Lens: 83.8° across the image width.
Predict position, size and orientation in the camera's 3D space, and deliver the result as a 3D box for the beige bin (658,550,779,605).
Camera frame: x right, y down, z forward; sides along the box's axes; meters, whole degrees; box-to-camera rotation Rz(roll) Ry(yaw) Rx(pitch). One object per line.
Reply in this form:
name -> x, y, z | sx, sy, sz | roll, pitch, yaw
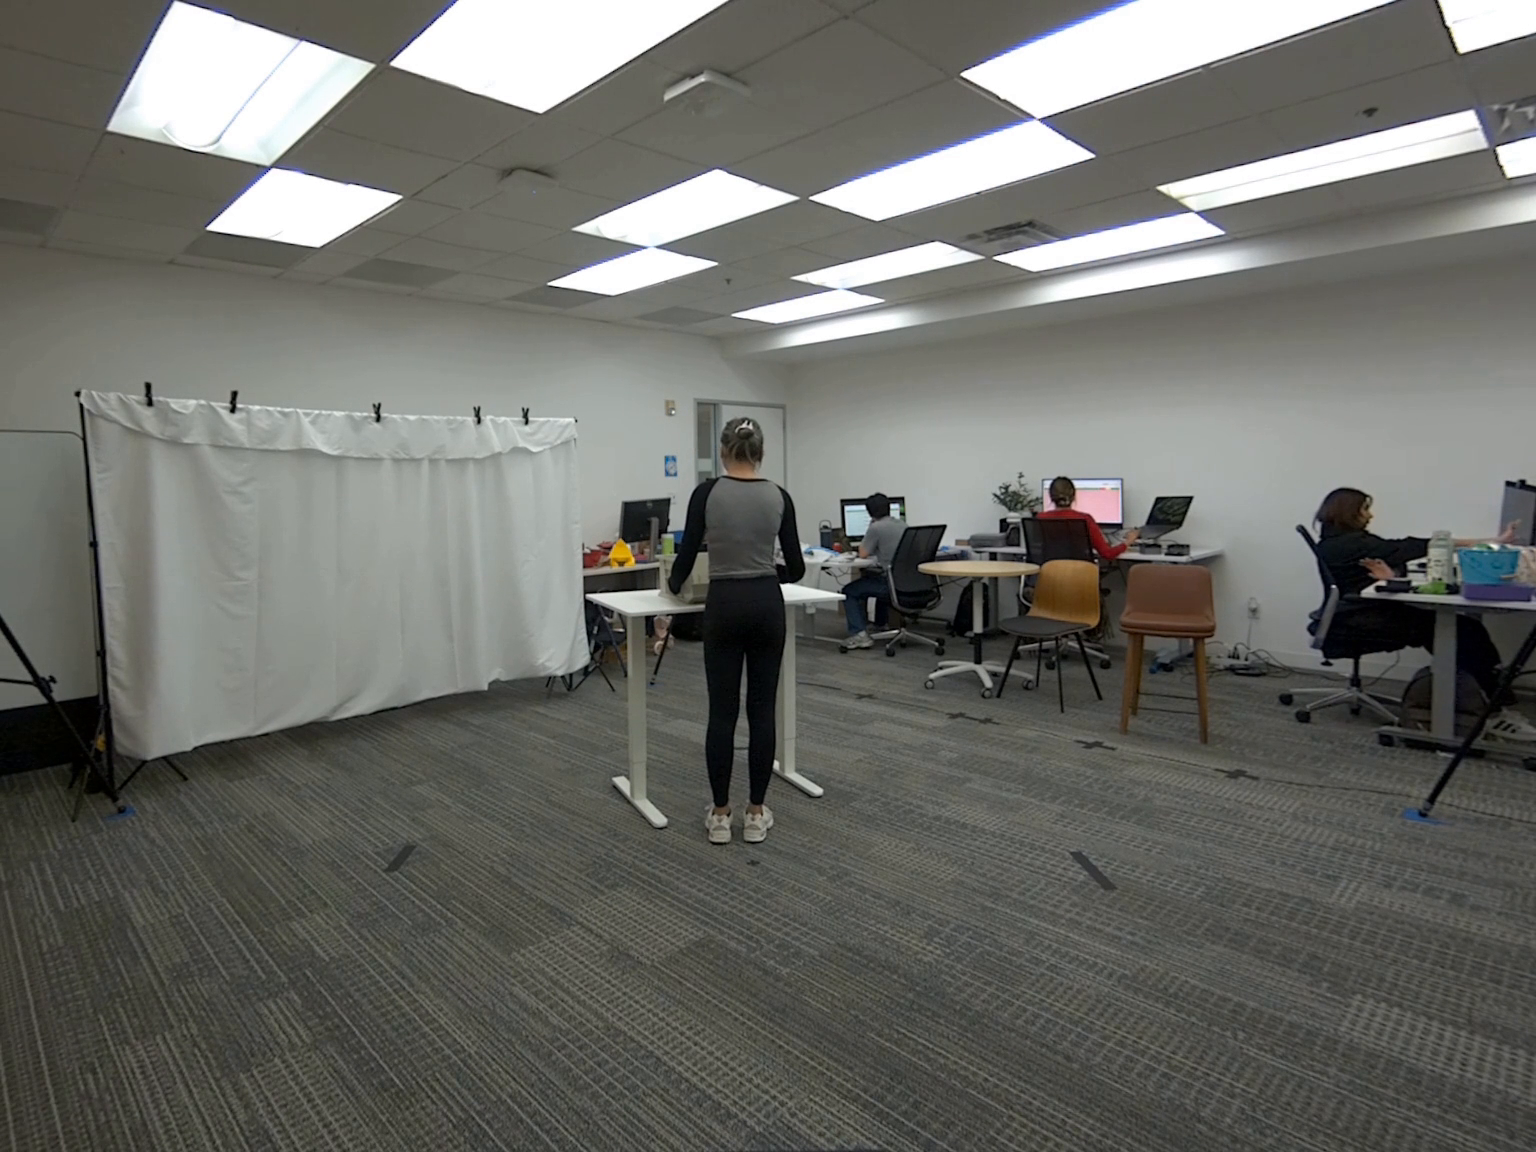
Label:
beige bin -> -0.220, 0.005, 3.726 | 0.413, 0.188, 0.387 | -5, 6, -29
